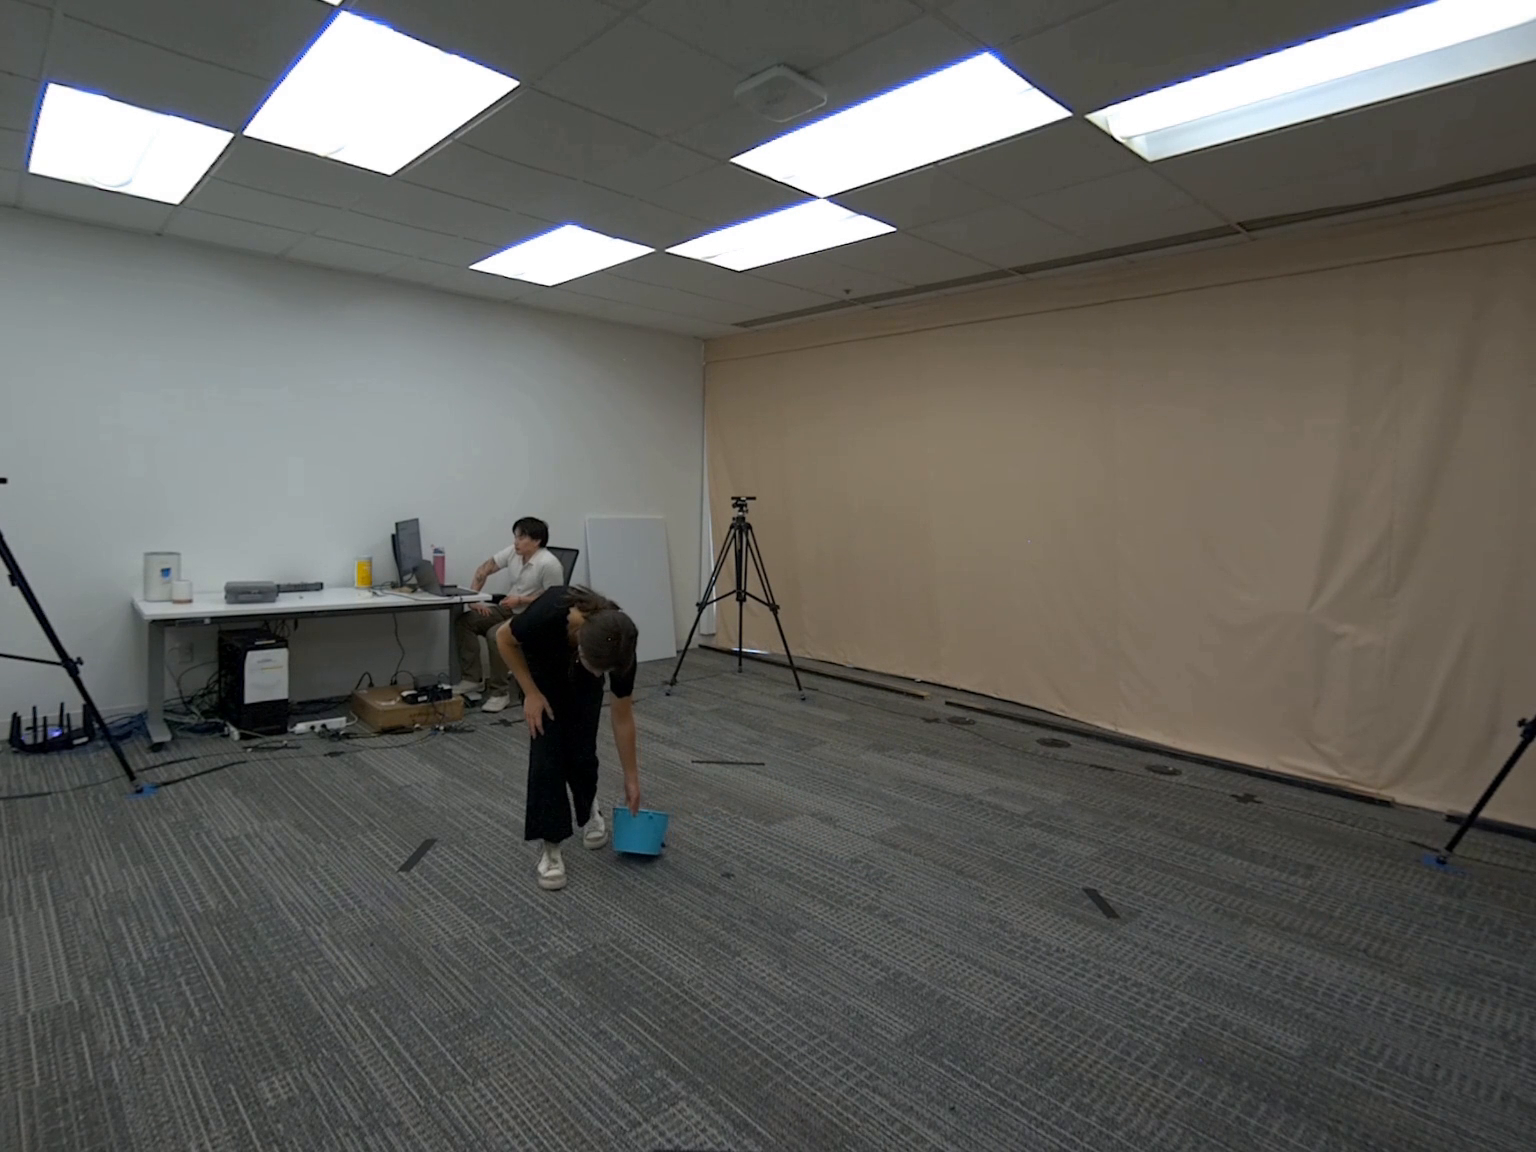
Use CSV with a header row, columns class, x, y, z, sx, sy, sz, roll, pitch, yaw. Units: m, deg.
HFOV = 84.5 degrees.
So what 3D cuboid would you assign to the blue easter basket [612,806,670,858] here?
class,x,y,z,sx,sy,sz,roll,pitch,yaw
blue easter basket,-0.512,0.983,3.246,0.244,0.157,0.241,6,-12,0
